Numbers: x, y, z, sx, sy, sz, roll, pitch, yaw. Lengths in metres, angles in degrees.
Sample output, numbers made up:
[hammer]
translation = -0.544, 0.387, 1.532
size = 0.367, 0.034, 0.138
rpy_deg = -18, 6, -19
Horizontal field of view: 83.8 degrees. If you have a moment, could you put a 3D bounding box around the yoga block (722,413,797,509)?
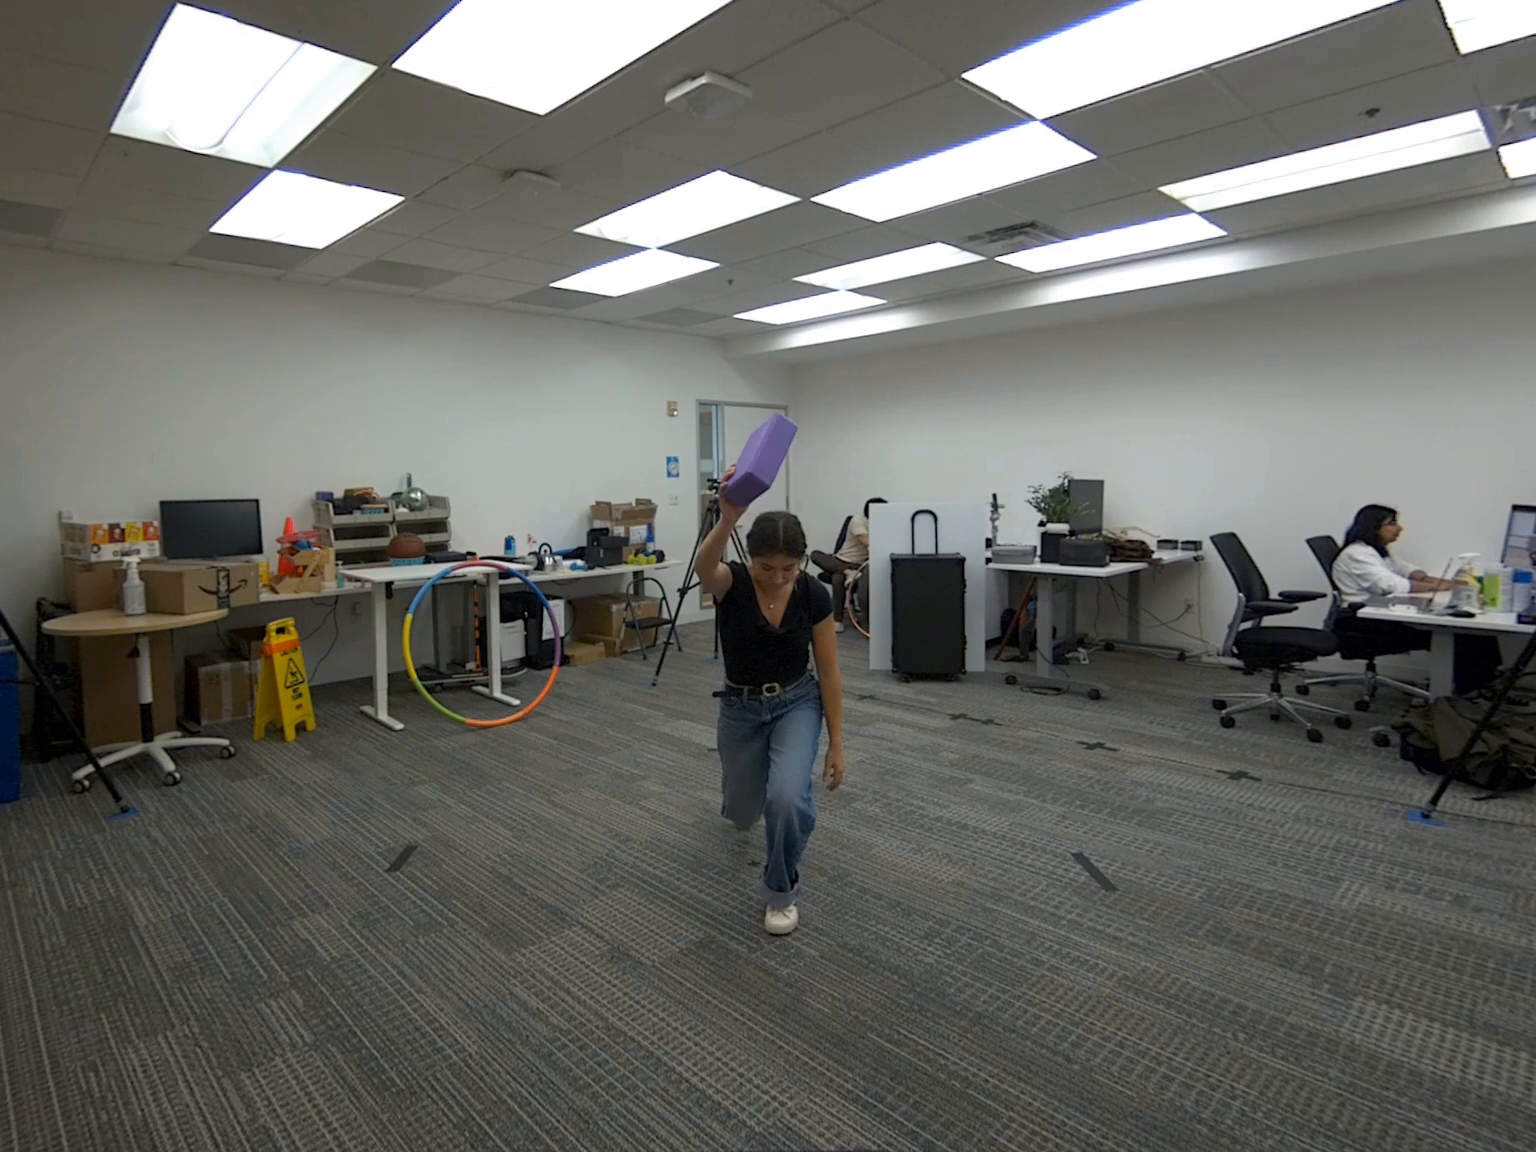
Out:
[yoga block]
translation = -0.014, -0.293, 2.253
size = 0.075, 0.232, 0.150
rpy_deg = 34, -32, -18
